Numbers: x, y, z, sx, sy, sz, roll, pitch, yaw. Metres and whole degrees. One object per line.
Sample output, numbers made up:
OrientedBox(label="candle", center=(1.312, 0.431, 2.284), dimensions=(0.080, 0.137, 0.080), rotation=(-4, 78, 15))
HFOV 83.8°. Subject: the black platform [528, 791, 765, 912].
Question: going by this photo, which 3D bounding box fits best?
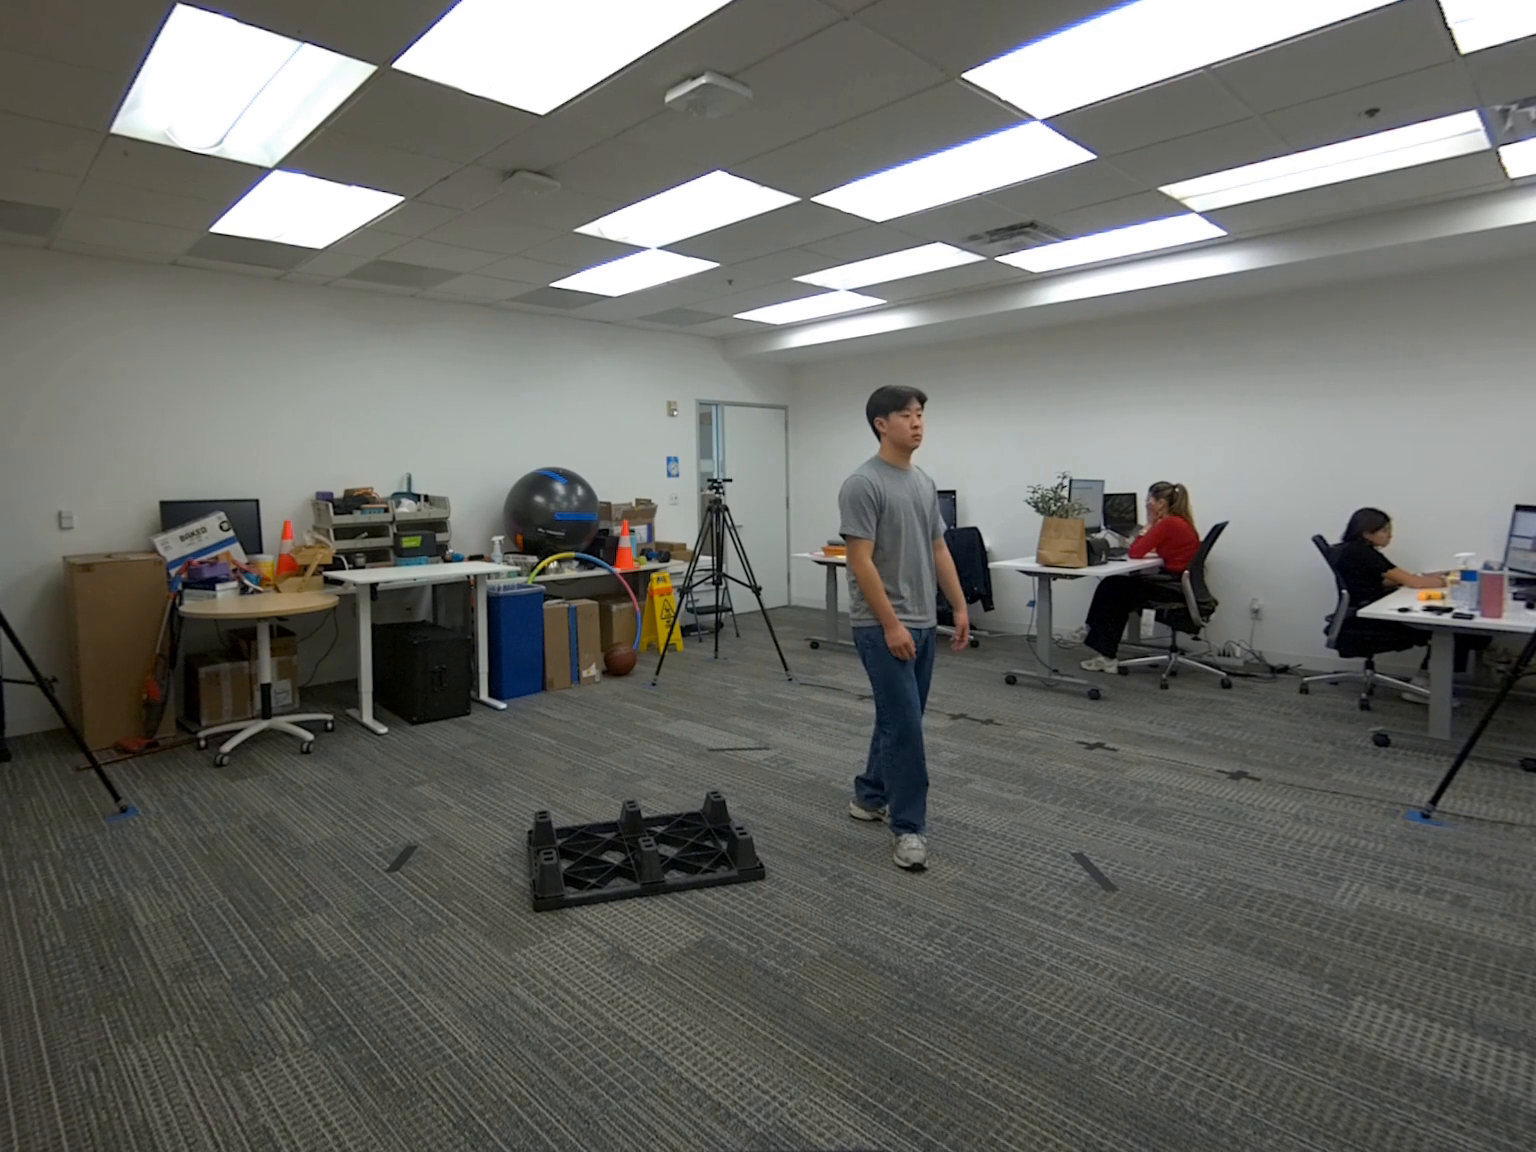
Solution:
OrientedBox(label="black platform", center=(-0.471, 0.979, 3.155), dimensions=(0.794, 0.143, 0.617), rotation=(-3, 6, -16))
